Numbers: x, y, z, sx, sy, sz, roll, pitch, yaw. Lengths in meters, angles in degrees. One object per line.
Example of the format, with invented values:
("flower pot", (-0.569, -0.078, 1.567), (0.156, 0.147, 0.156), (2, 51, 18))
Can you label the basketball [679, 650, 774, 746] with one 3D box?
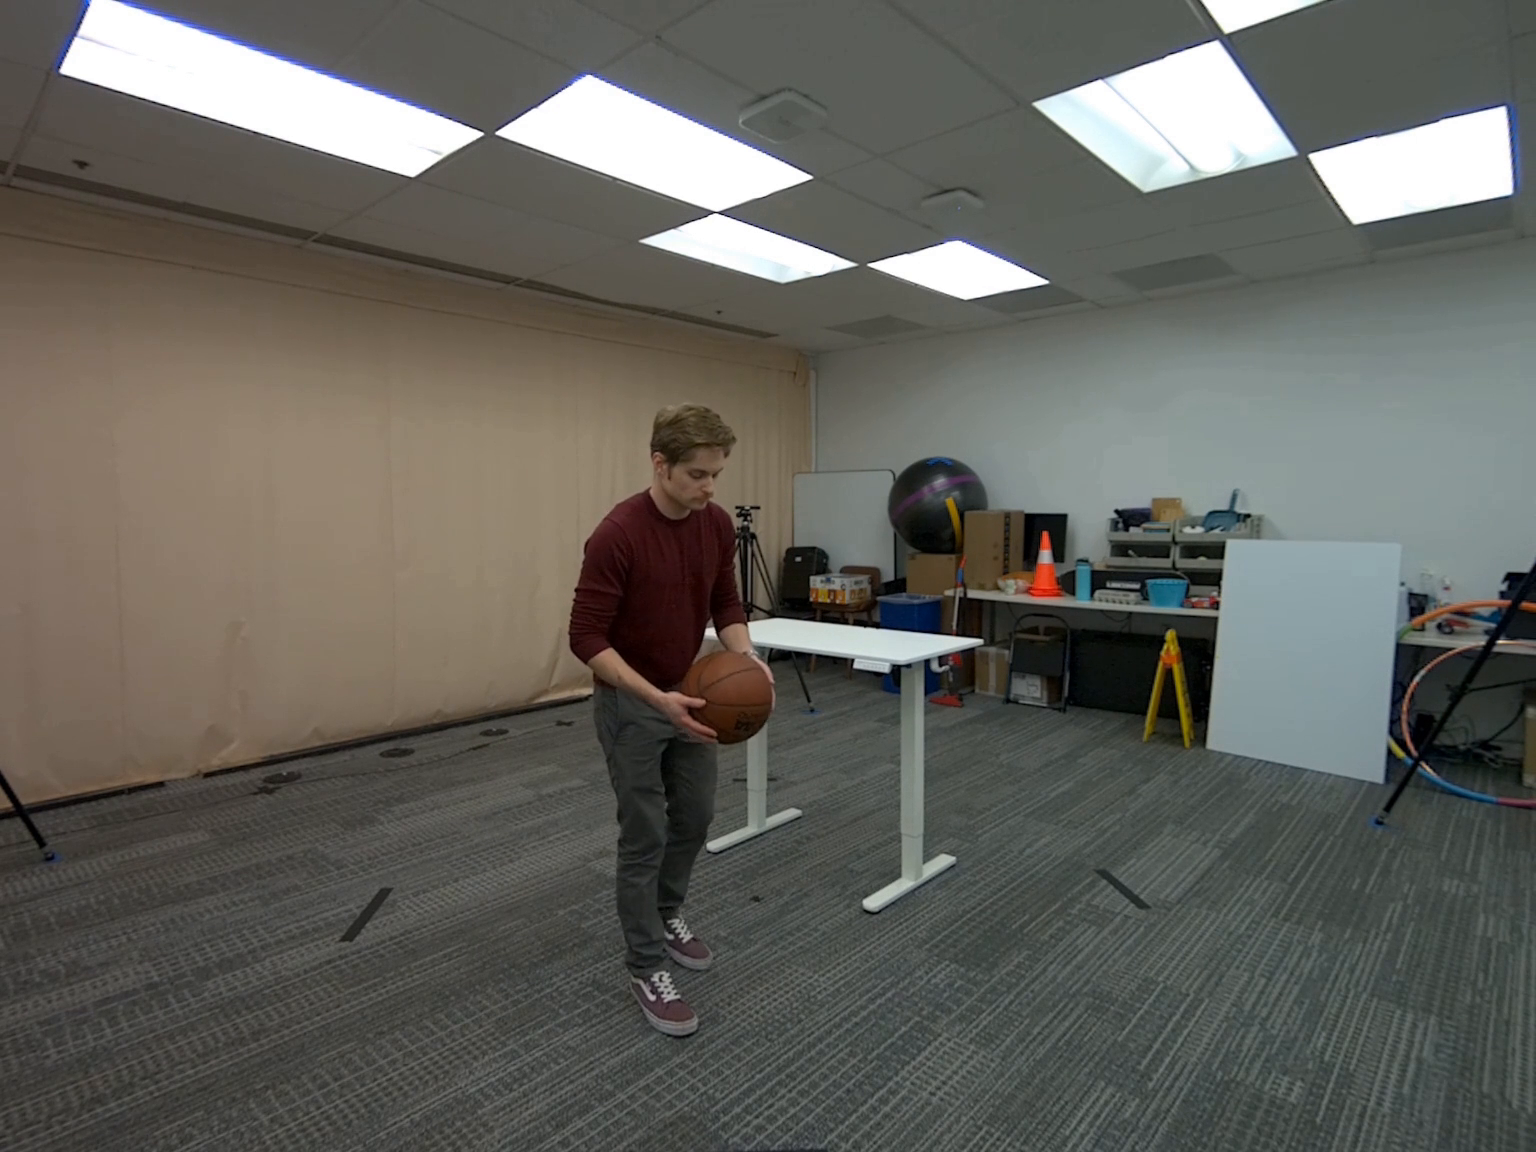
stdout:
("basketball", (-0.107, 0.318, 2.155), (0.236, 0.235, 0.237), (0, 4, -2))
